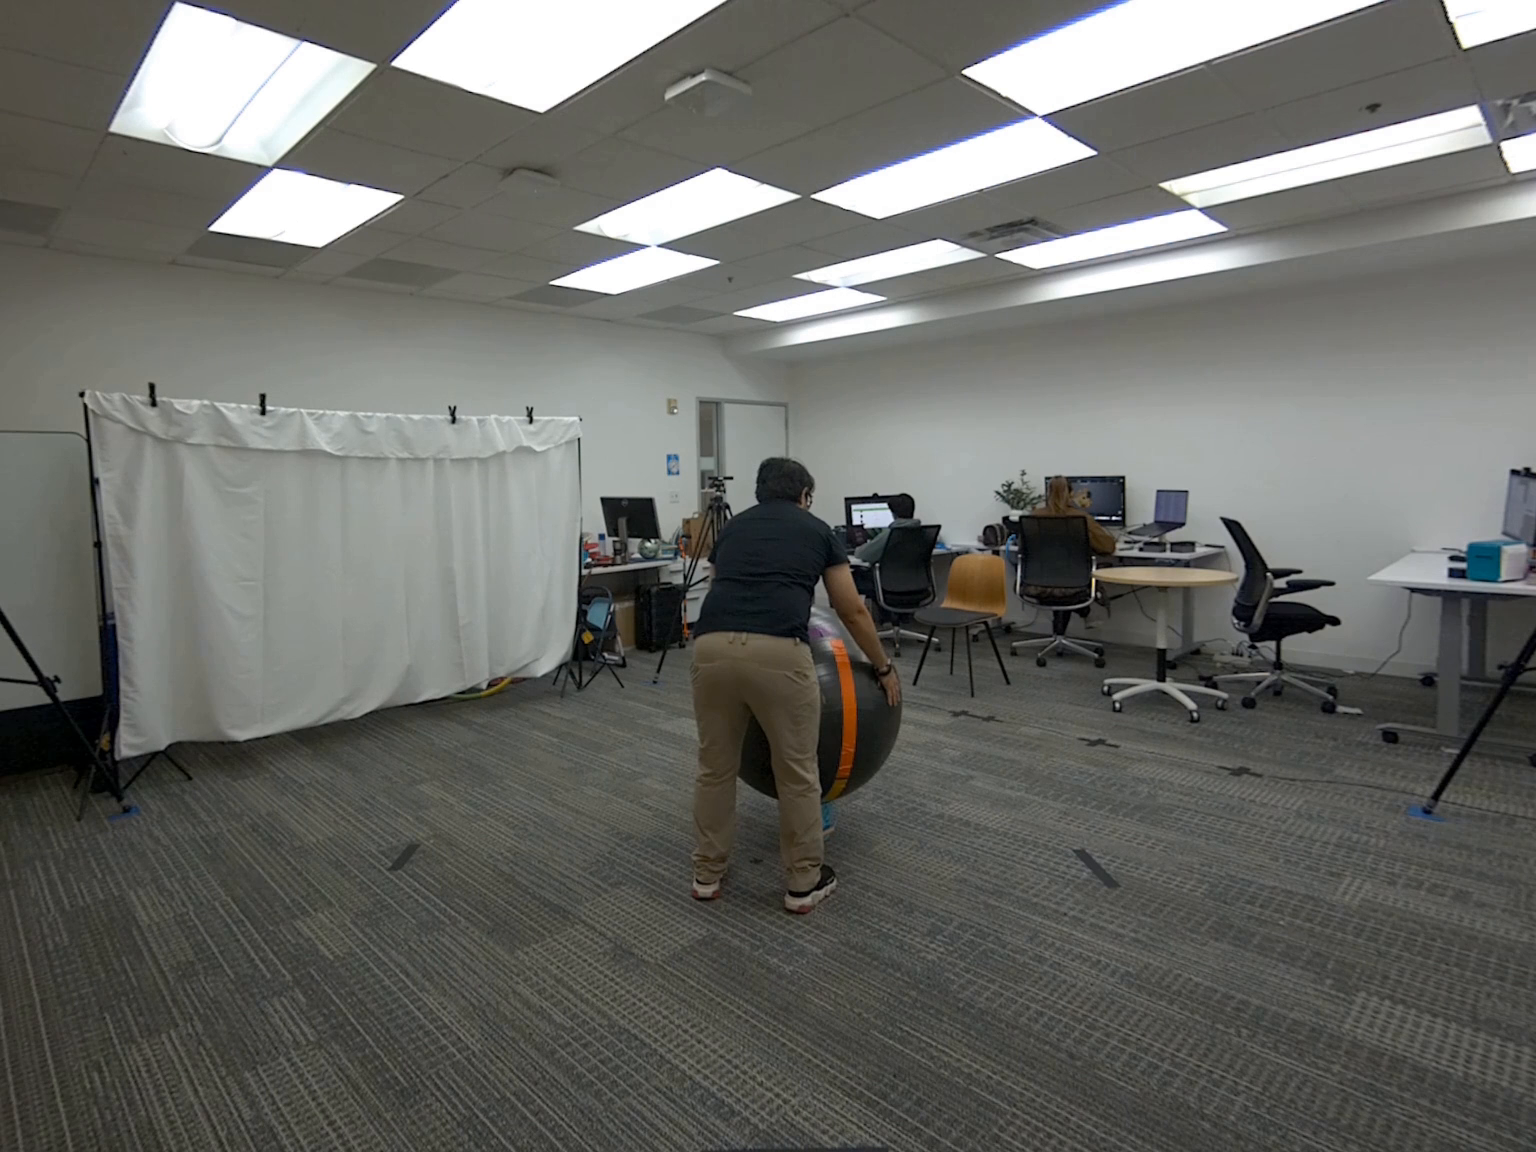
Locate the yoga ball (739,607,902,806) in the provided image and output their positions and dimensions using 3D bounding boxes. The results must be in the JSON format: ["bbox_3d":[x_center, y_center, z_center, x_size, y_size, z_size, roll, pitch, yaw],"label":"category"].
[{"bbox_3d":[0.140,0.494,3.327,0.757,0.755,0.762,-1,5,-2],"label":"yoga ball"}]
